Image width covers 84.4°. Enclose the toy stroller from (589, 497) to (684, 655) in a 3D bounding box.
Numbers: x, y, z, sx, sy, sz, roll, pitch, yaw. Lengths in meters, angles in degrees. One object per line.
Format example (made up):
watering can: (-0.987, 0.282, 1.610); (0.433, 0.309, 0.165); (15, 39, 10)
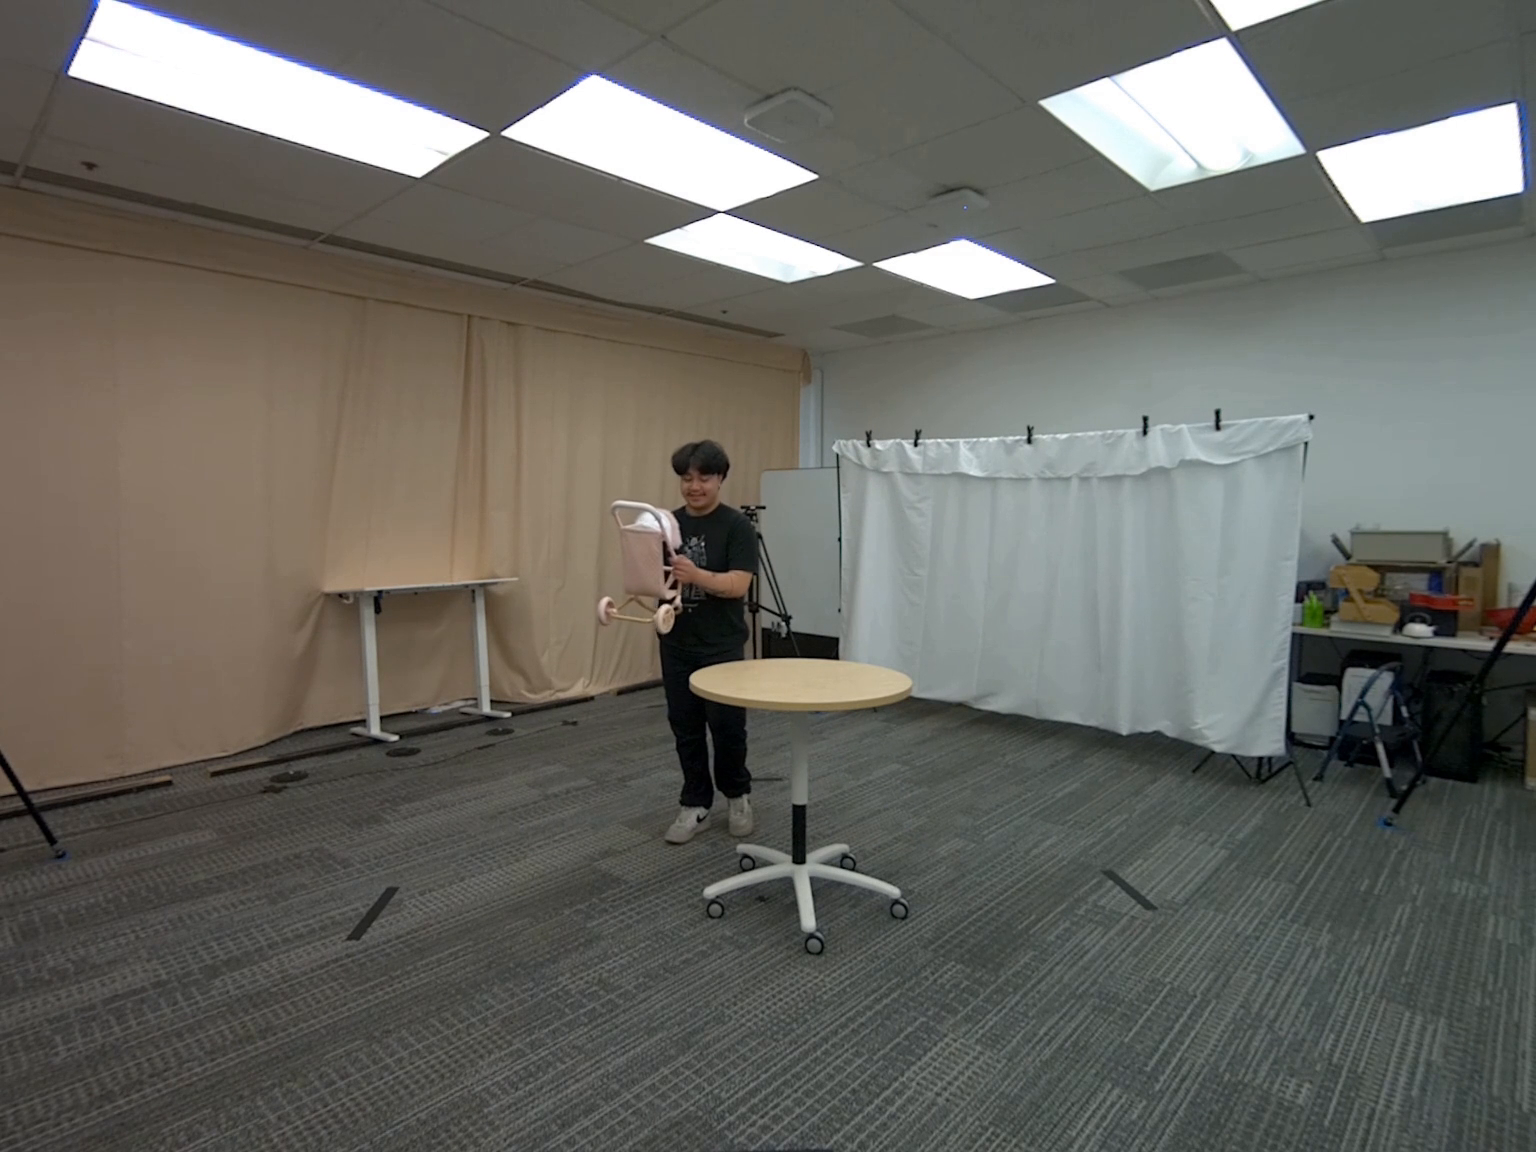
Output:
toy stroller: (-0.450, -0.019, 3.212); (0.289, 0.533, 0.333); (7, 7, 26)
